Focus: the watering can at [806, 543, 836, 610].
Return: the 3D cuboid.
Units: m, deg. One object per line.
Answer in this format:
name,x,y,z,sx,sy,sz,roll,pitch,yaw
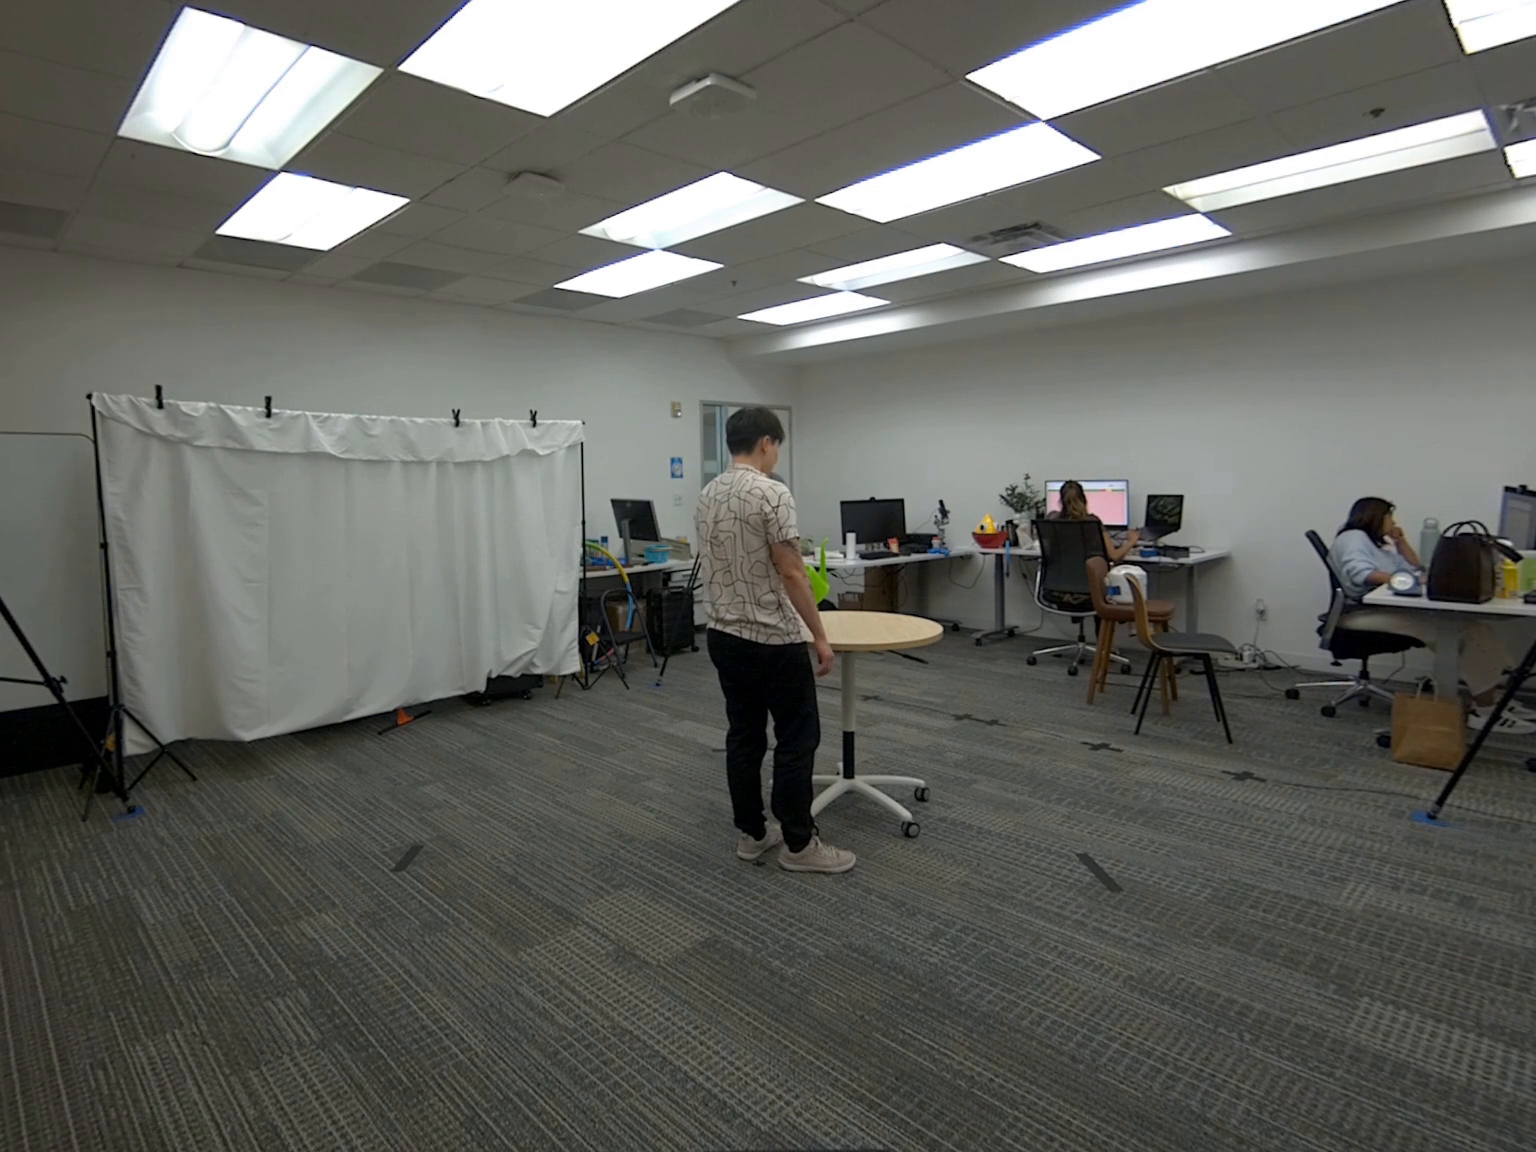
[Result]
watering can,0.199,0.006,3.471,0.279,0.171,0.101,-36,28,11
